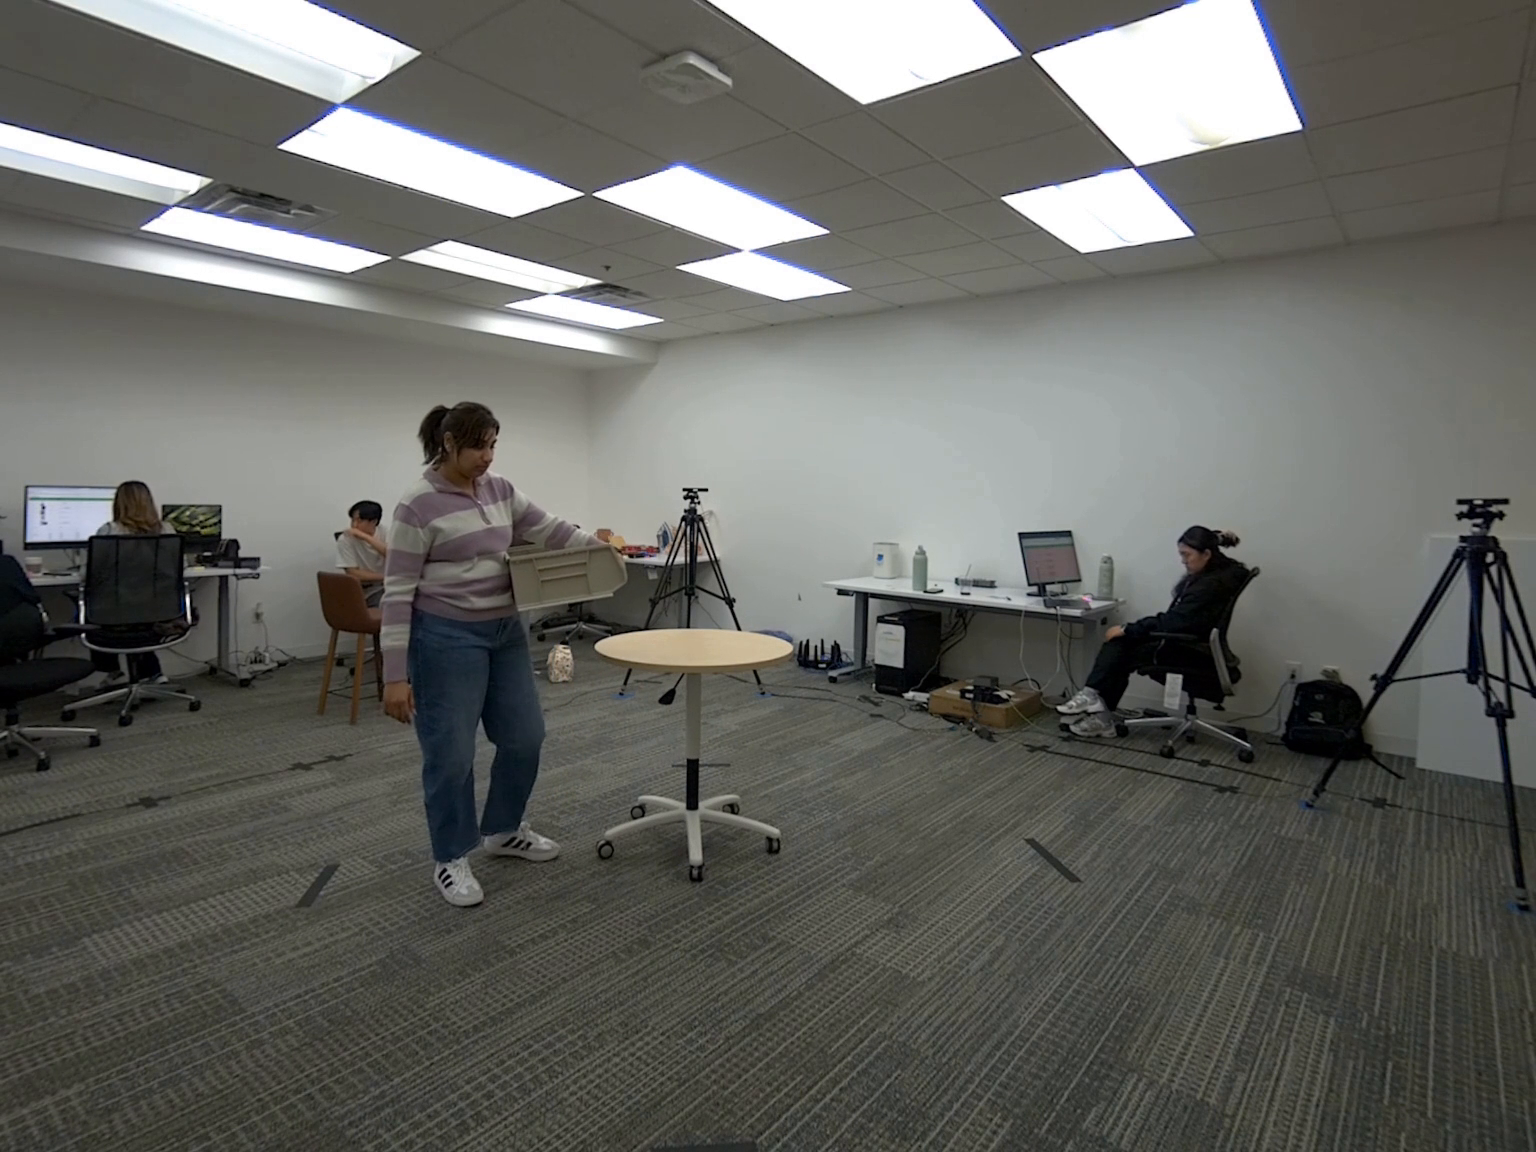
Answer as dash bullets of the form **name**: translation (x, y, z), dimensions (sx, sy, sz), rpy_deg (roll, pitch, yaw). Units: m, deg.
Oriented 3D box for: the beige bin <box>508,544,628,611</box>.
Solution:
- **beige bin**: translation (-0.734, -0.012, 3.003), dimensions (0.372, 0.187, 0.432), rpy_deg (-10, 9, -18)
